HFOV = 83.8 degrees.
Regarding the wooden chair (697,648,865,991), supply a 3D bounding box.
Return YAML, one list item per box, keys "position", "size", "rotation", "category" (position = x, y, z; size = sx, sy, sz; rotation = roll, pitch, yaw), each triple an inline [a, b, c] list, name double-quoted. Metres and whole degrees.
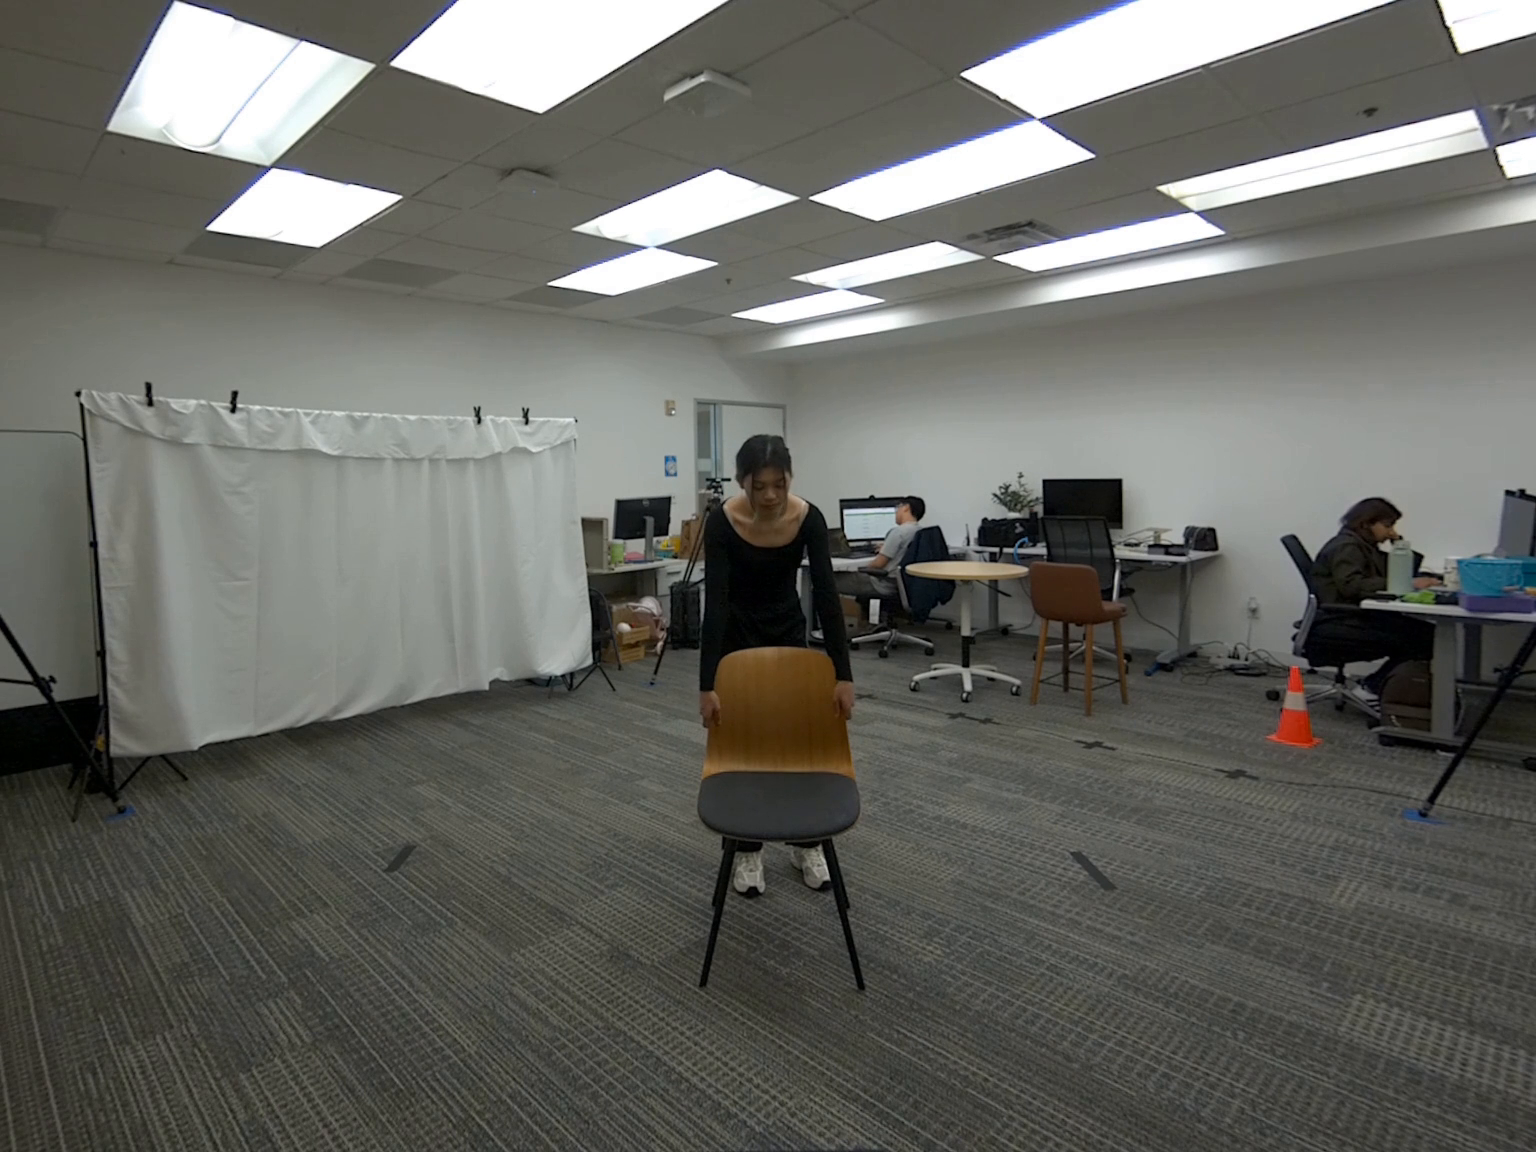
- position: [0.035, 0.685, 2.518]
  size: [0.479, 0.878, 0.521]
  rotation: [0, 0, 2]
  category: "wooden chair"
